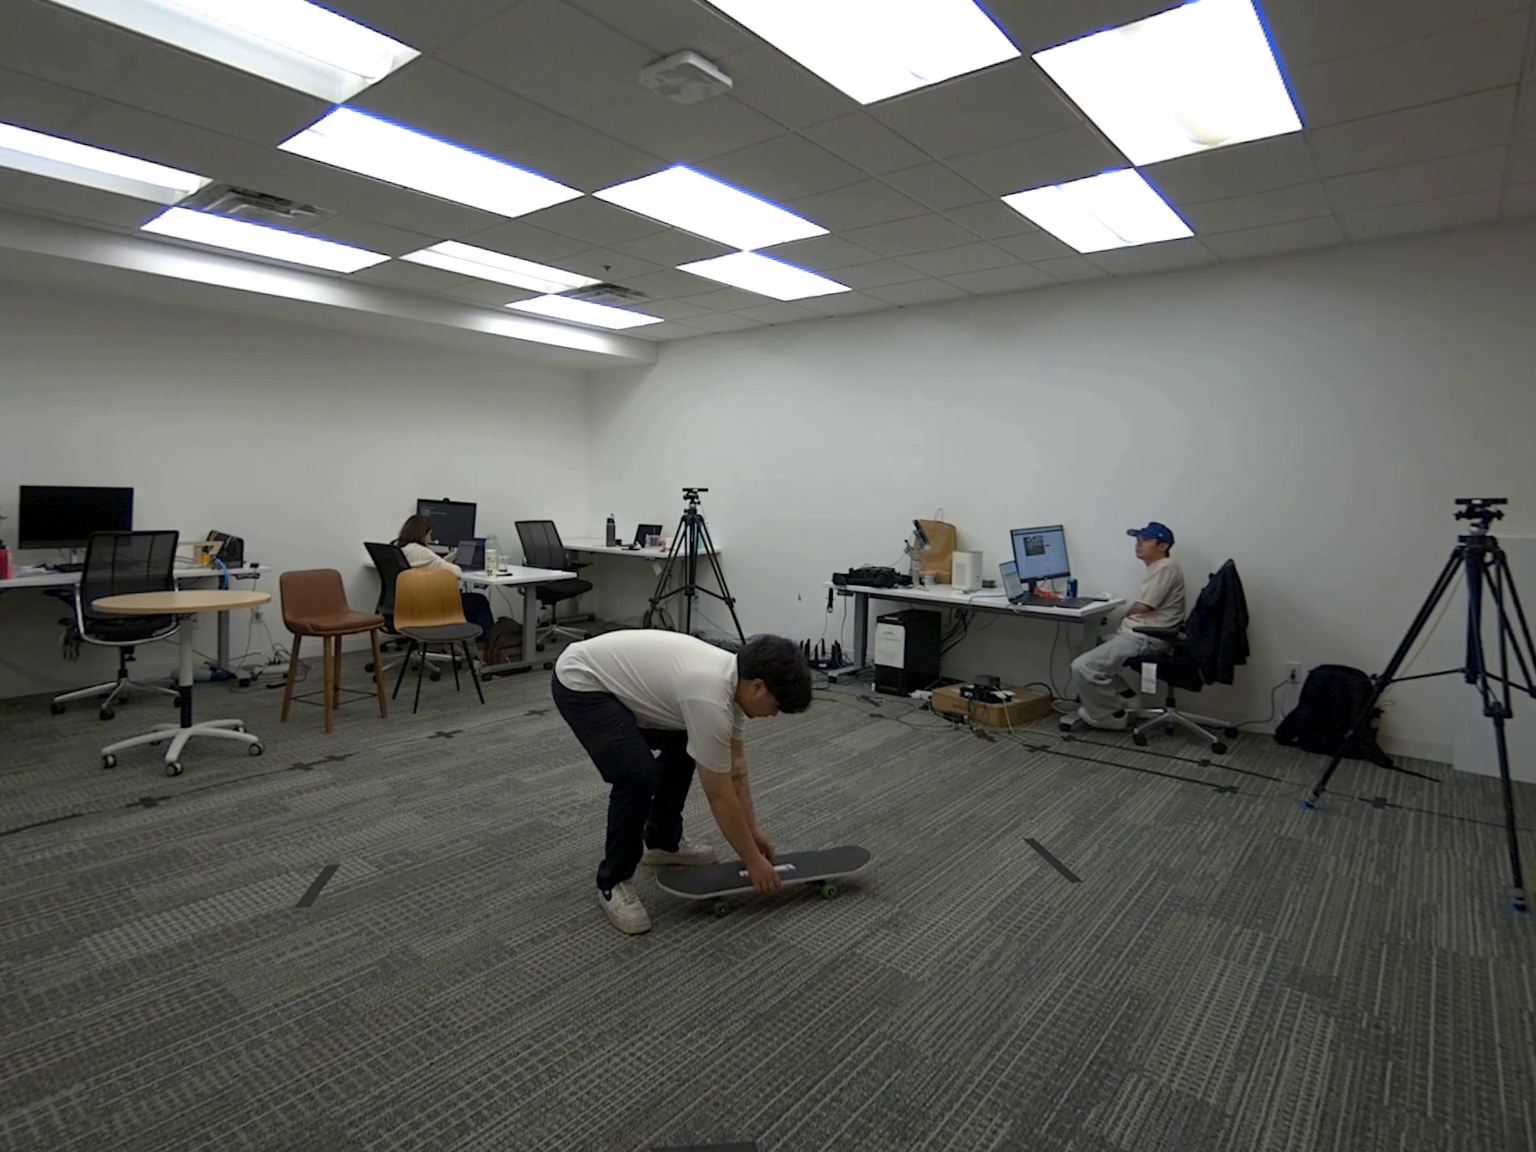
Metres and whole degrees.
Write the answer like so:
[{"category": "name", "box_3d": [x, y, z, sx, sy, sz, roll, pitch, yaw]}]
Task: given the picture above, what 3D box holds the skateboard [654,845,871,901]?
[{"category": "skateboard", "box_3d": [-0.015, 1.037, 2.907, 0.769, 0.110, 0.198, -2, 7, -21]}]
